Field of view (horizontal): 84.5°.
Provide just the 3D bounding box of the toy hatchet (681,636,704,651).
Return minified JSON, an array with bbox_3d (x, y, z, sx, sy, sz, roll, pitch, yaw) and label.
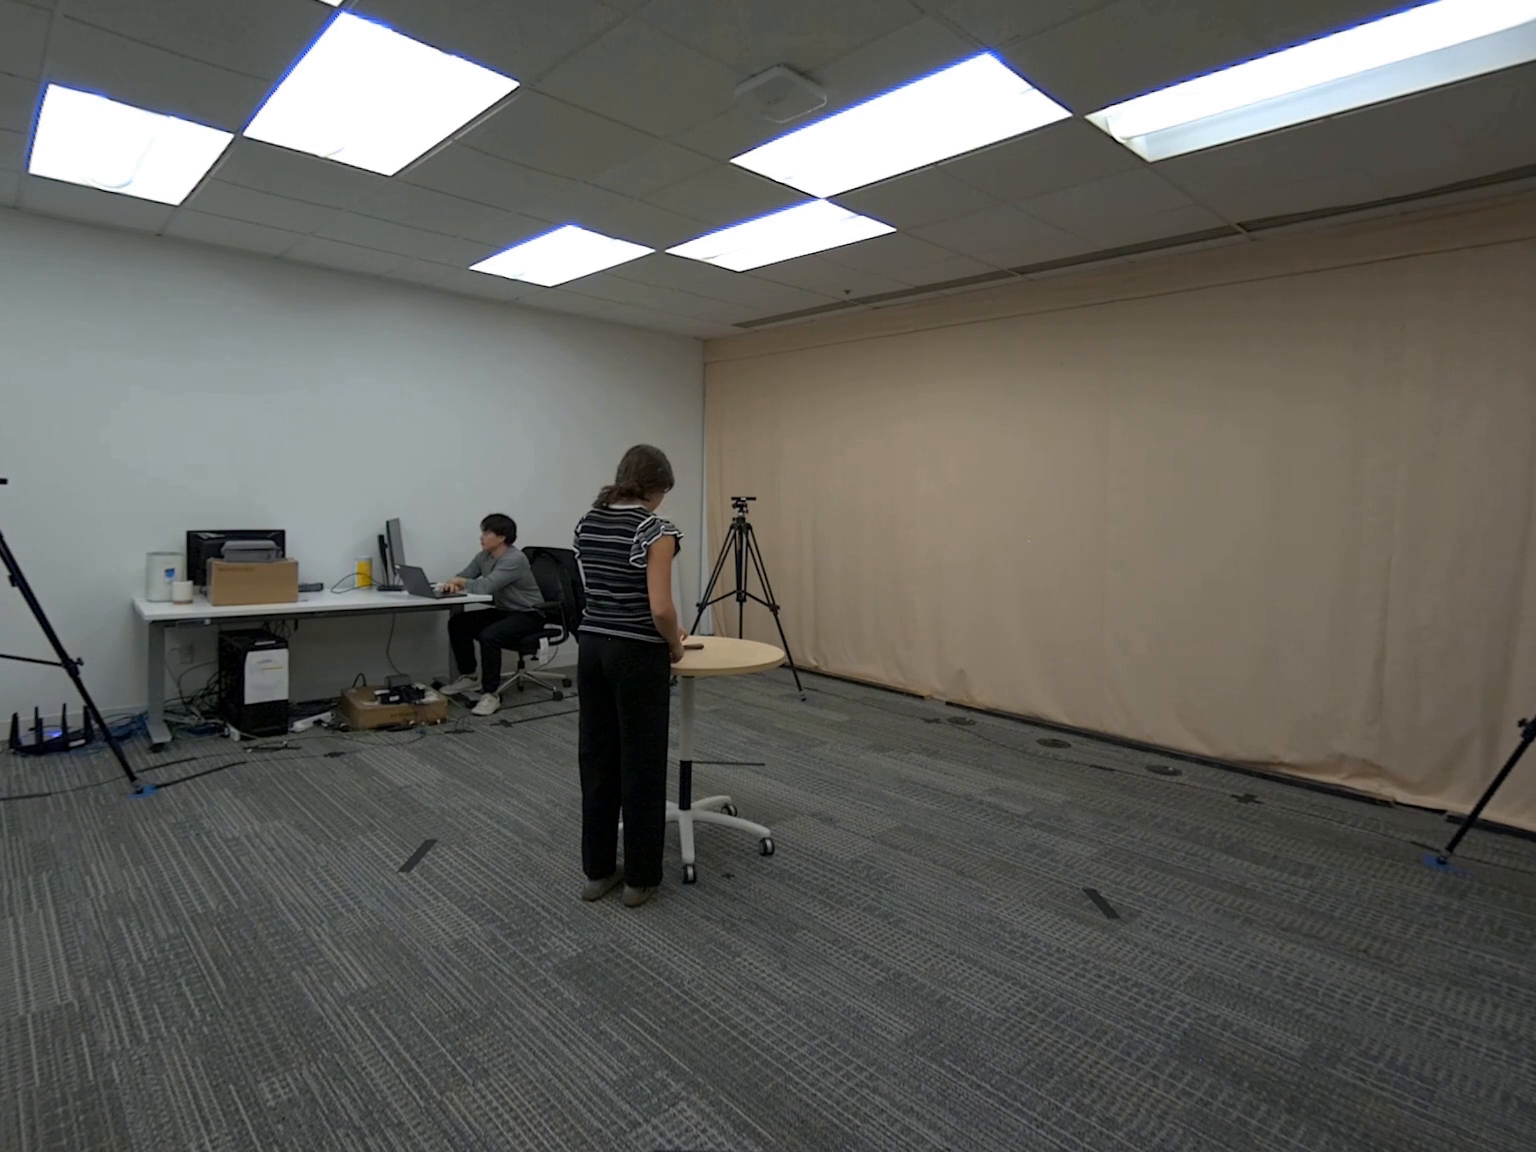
[{"bbox_3d":[-0.355,0.290,3.296,0.264,0.029,0.134,-1,1,-36],"label":"toy hatchet"}]
